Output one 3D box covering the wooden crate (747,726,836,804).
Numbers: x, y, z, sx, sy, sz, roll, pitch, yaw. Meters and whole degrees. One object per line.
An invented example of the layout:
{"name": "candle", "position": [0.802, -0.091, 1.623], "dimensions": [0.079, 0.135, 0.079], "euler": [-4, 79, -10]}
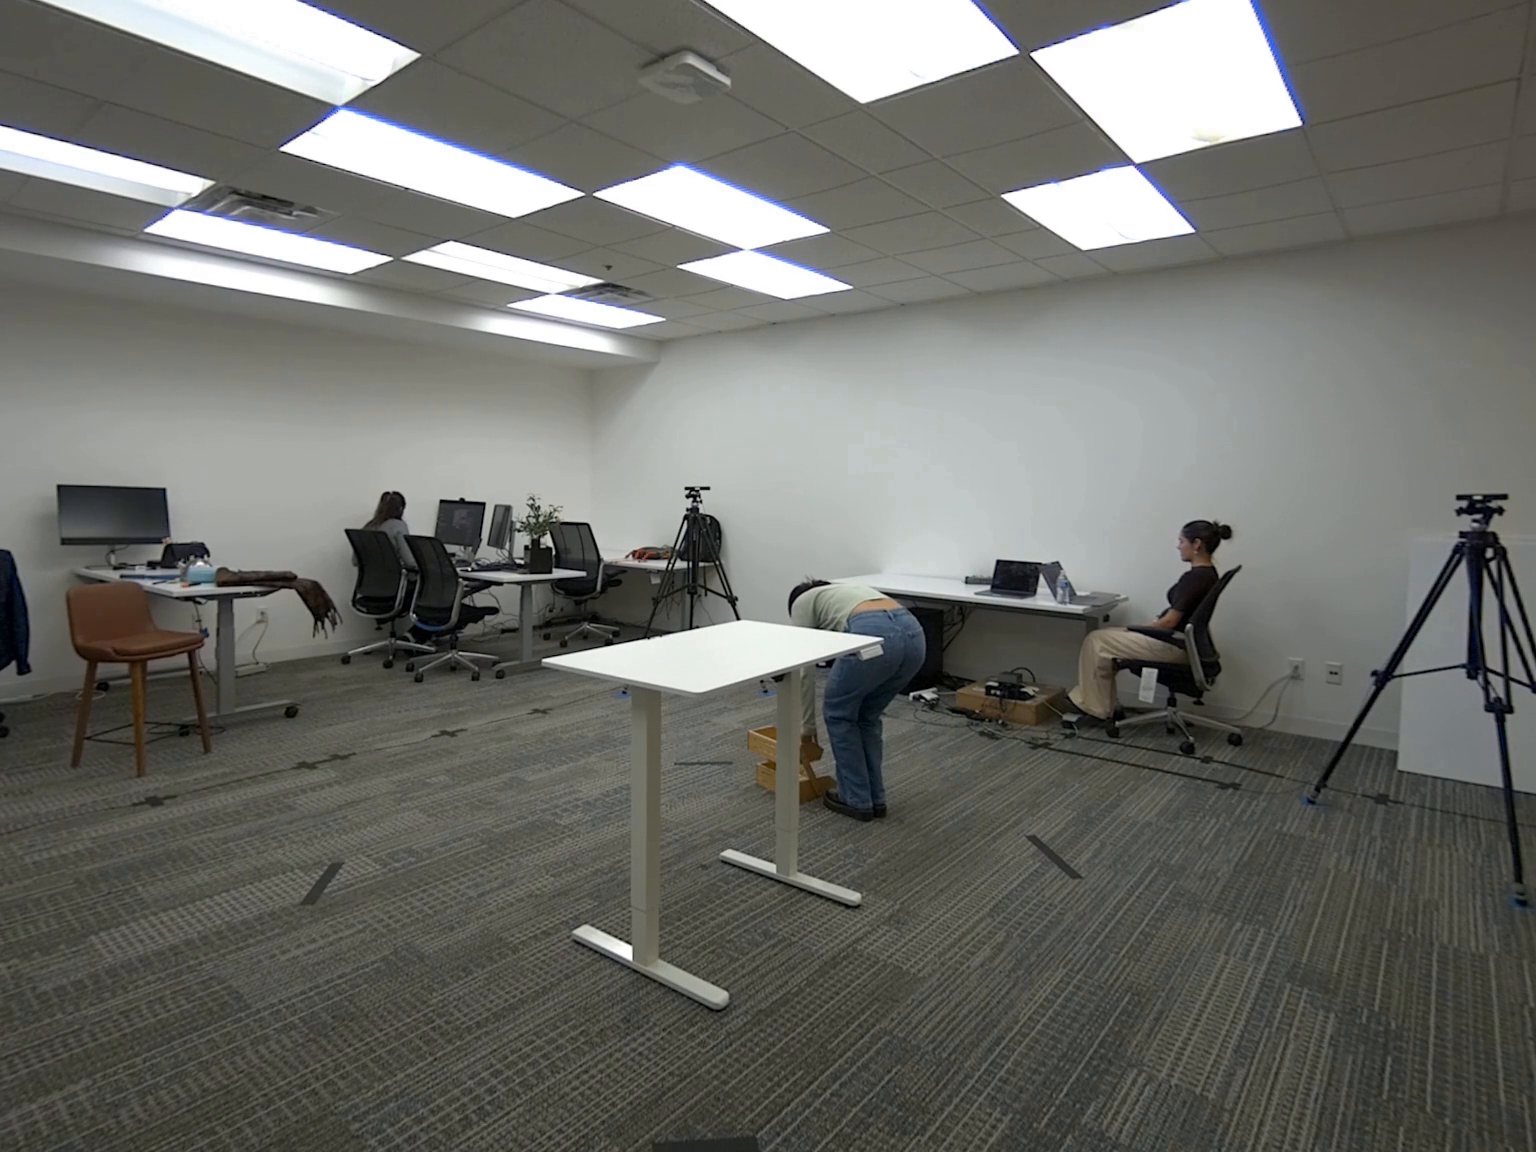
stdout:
{"name": "wooden crate", "position": [0.109, 0.851, 3.950], "dimensions": [0.293, 0.272, 0.335], "euler": [-3, 7, -36]}
